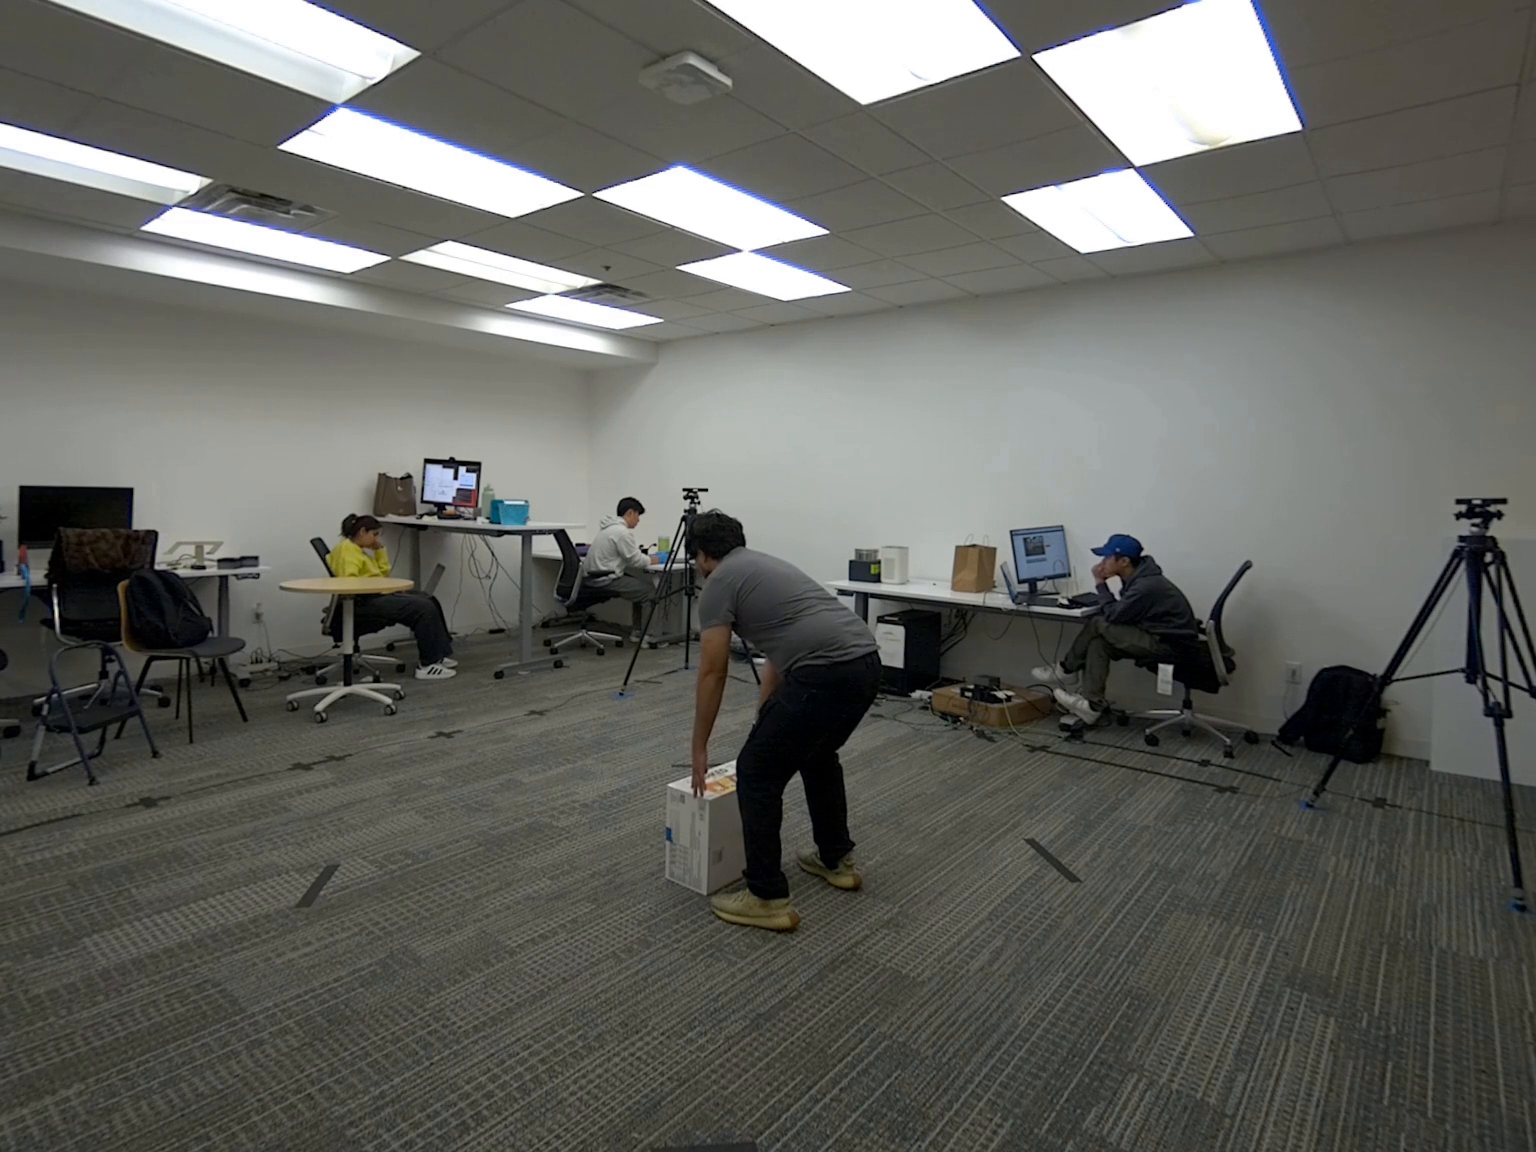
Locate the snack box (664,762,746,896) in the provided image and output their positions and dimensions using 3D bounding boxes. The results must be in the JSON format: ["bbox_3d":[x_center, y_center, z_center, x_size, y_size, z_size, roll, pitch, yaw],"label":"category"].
[{"bbox_3d":[-0.169,0.898,3.102,0.212,0.339,0.393,4,6,38],"label":"snack box"}]
